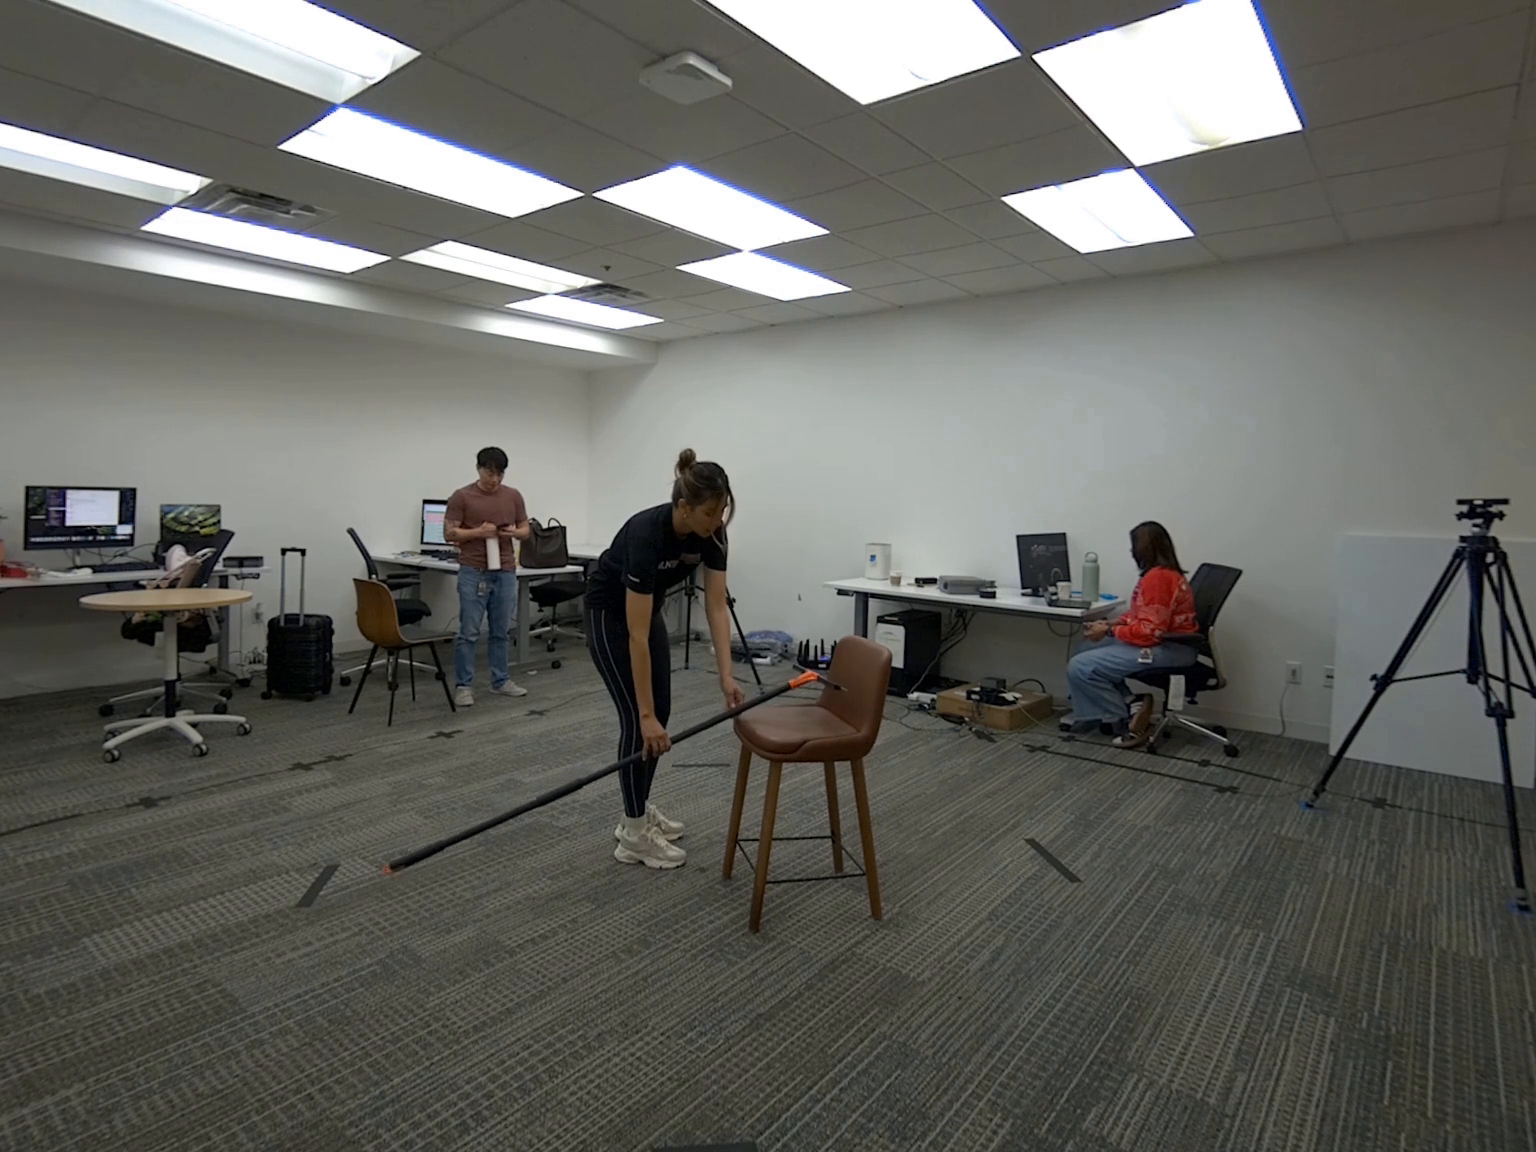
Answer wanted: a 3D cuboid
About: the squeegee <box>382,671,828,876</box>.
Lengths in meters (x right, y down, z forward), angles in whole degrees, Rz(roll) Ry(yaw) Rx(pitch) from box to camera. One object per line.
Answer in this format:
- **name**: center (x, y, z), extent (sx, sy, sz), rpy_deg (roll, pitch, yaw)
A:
- **squeegee**: center (-0.522, 0.646, 2.769), extent (1.527, 0.054, 0.427), rpy_deg (-22, -25, -11)
